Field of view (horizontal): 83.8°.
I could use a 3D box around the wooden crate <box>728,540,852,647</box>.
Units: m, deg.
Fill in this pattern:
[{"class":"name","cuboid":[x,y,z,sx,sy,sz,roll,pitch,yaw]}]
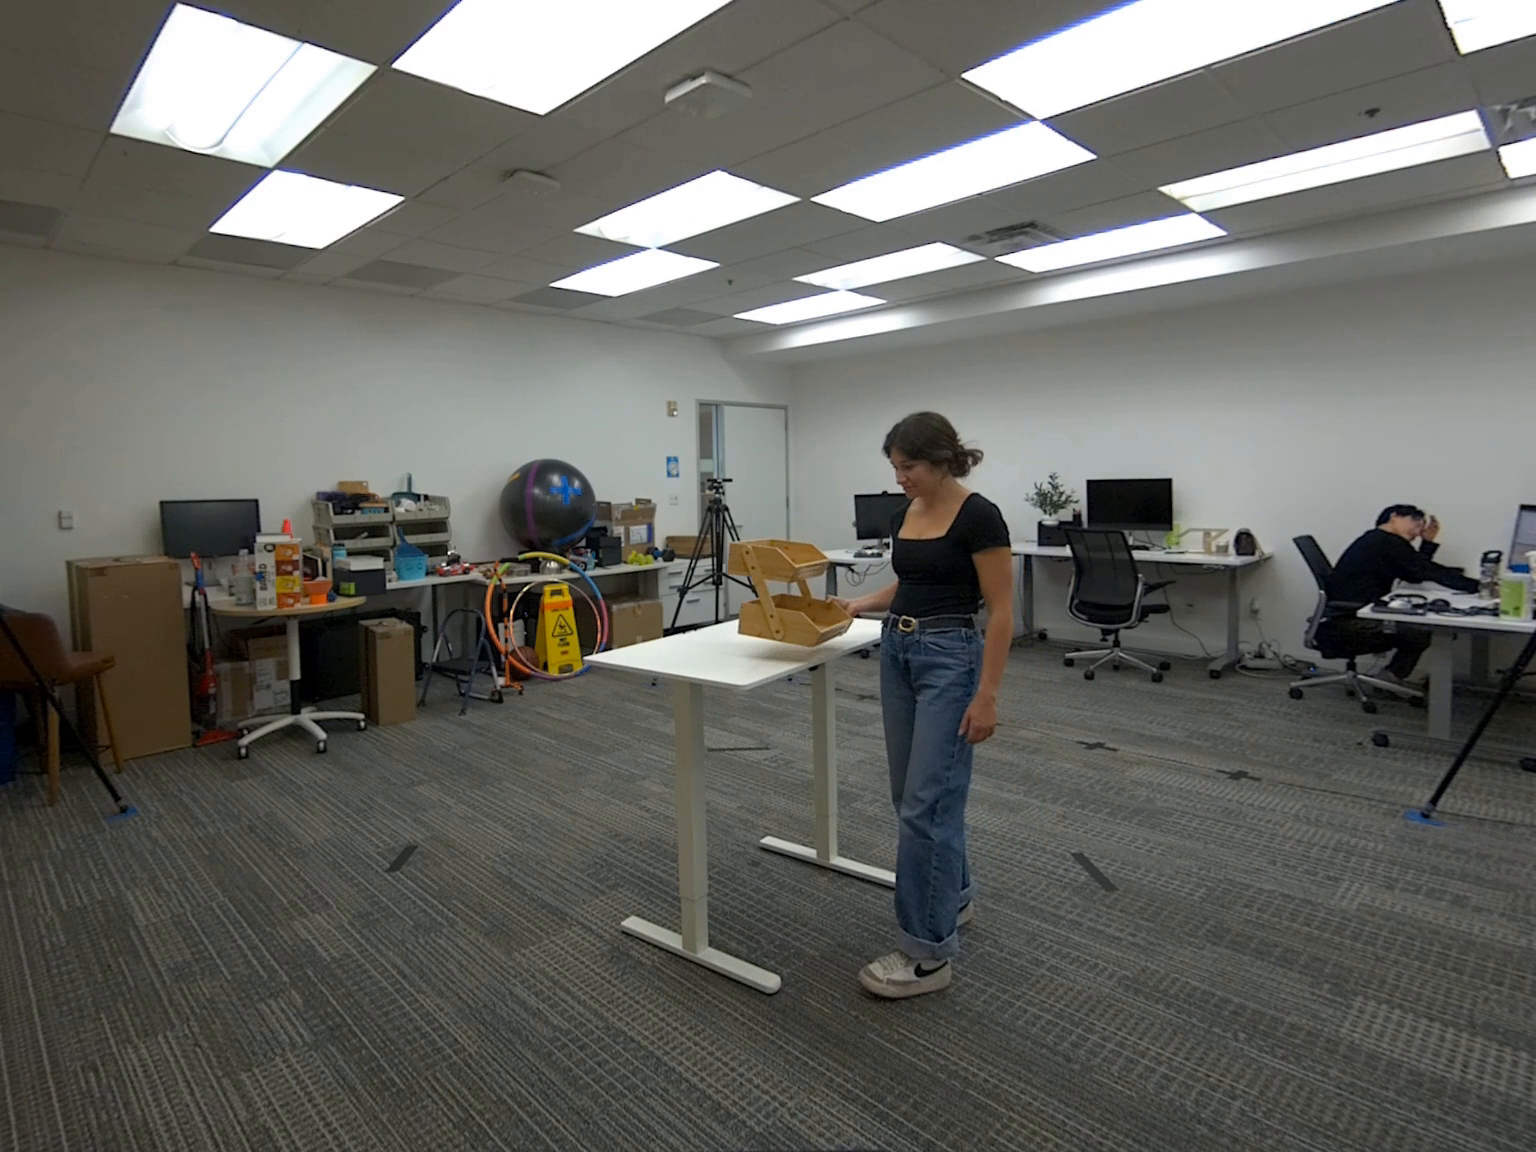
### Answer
[{"class":"wooden crate","cuboid":[0.088,0.041,2.524,0.310,0.272,0.318,9,7,24]}]
